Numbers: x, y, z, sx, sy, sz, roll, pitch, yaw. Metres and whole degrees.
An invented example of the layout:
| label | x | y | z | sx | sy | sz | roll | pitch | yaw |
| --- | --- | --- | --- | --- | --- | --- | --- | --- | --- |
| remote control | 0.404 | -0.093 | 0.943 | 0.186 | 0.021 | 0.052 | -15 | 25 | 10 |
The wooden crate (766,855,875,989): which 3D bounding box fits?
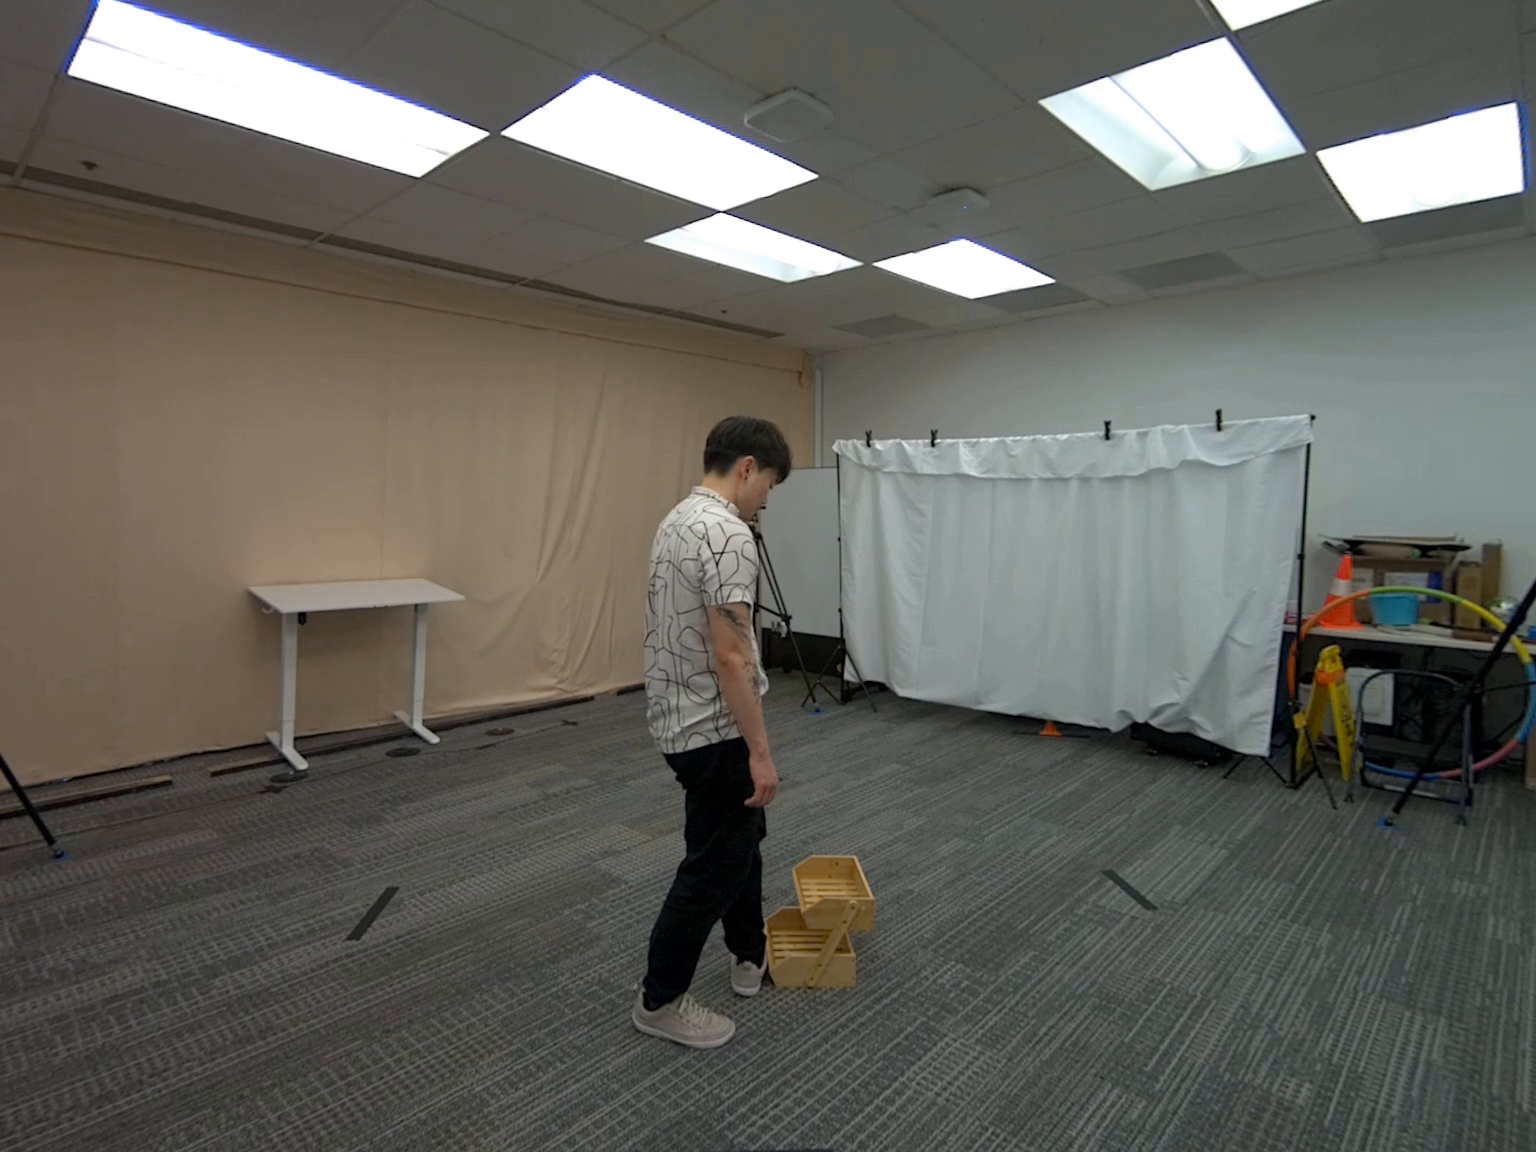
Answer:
| label | x | y | z | sx | sy | sz | roll | pitch | yaw |
| --- | --- | --- | --- | --- | --- | --- | --- | --- | --- |
| wooden crate | 0.142 | 1.046 | 2.573 | 0.301 | 0.273 | 0.326 | -1 | 4 | -3 |
